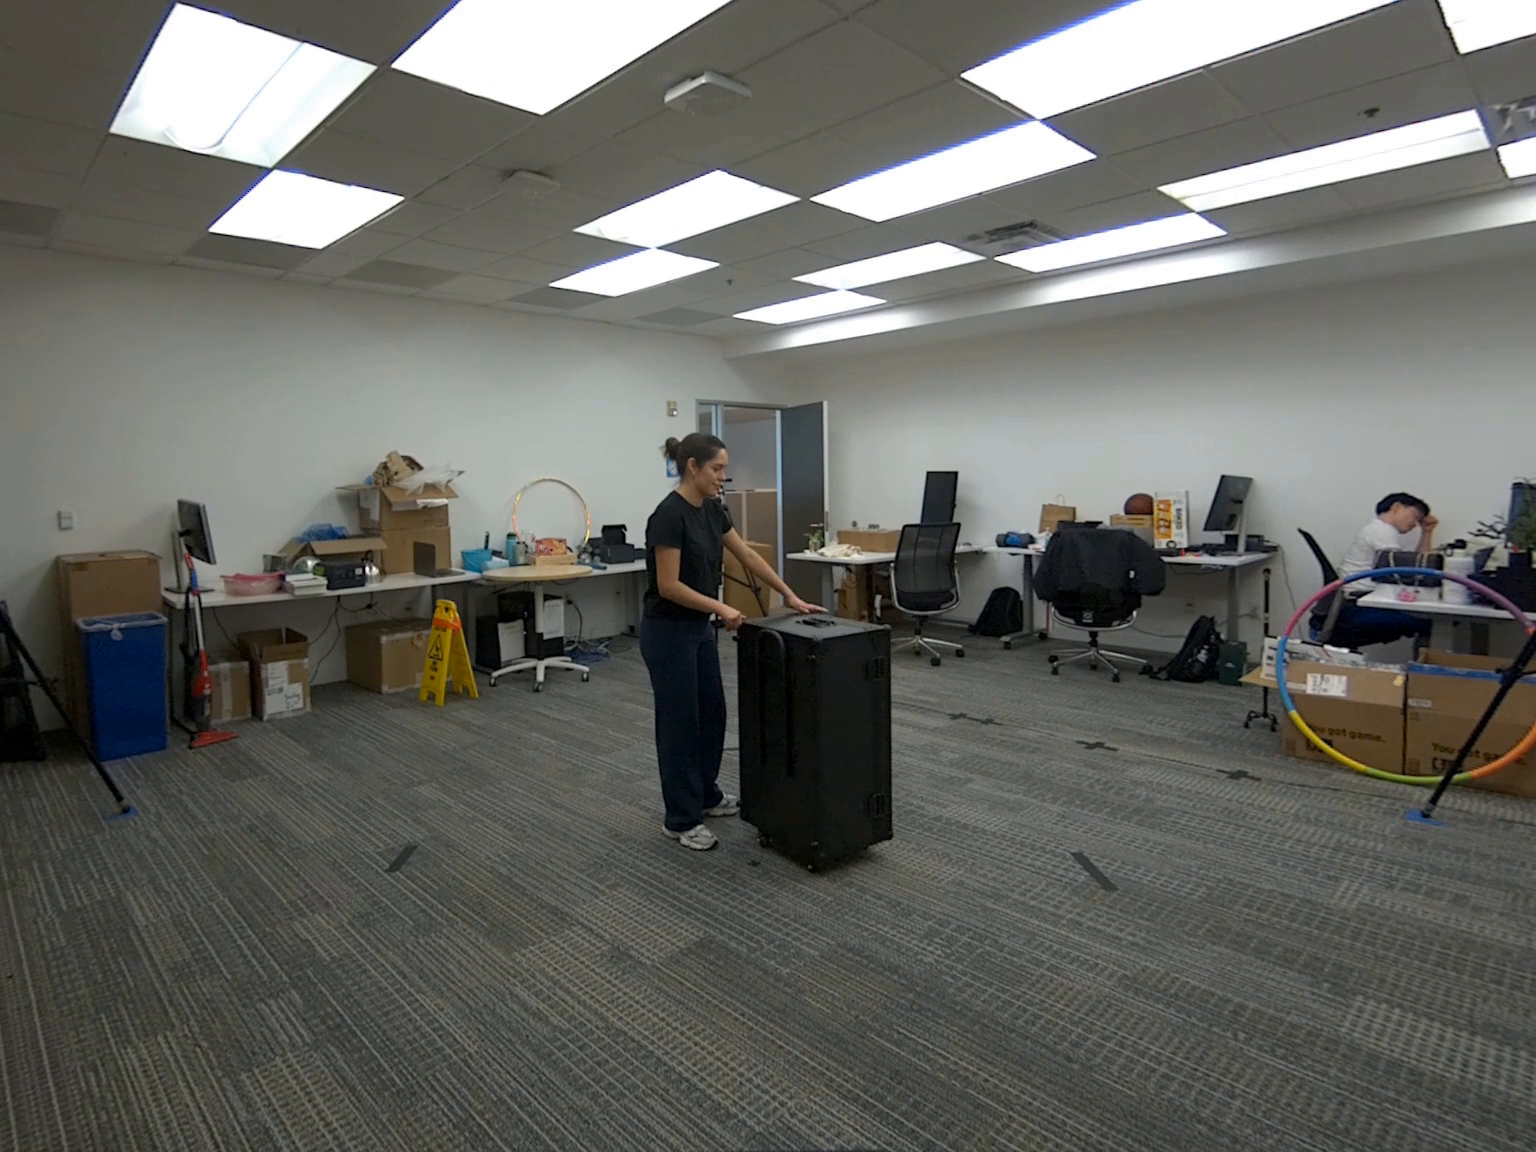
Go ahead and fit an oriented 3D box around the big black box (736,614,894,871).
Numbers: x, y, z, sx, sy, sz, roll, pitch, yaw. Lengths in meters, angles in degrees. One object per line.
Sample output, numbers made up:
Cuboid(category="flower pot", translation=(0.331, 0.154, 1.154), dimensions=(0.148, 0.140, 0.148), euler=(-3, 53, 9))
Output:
Cuboid(category="big black box", translation=(0.167, 0.605, 3.210), dimensions=(0.386, 0.858, 0.536), euler=(-5, 5, -36))
